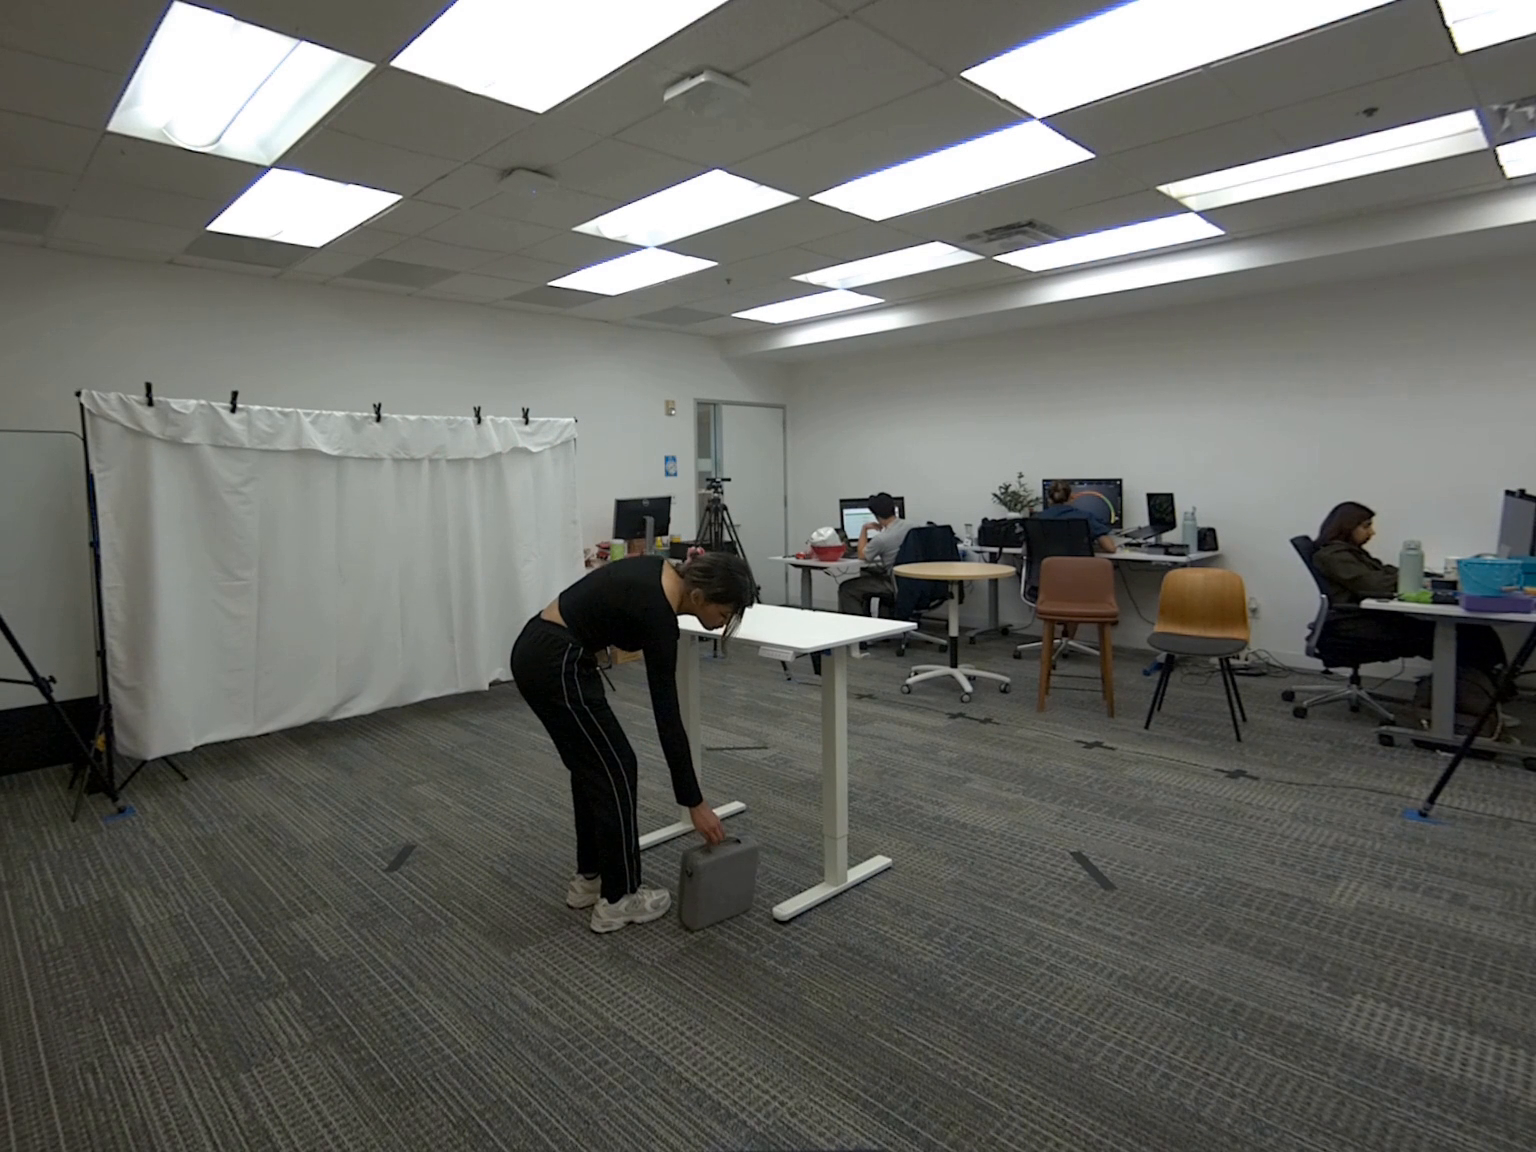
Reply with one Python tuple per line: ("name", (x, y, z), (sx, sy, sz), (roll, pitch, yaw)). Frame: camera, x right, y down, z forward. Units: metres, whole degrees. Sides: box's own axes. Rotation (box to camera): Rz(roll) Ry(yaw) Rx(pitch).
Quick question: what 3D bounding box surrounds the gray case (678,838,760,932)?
("gray case", (-0.156, 0.951, 2.708), (0.250, 0.258, 0.108), (-4, 15, -35))
